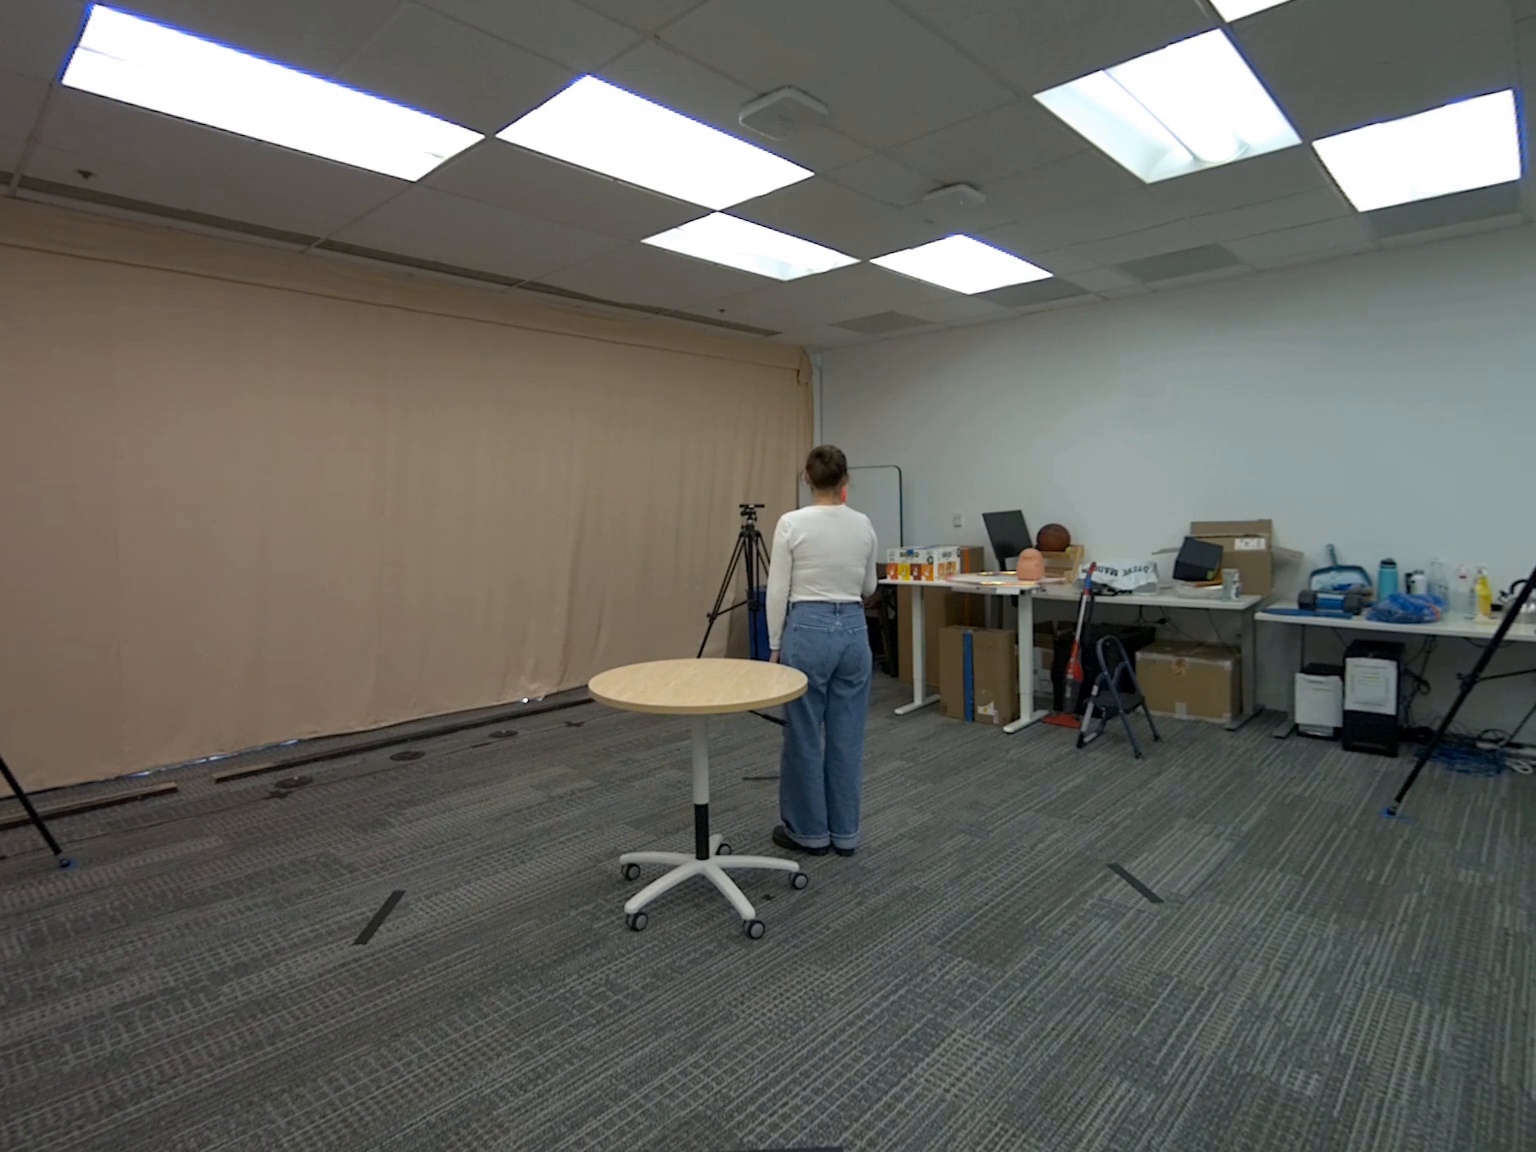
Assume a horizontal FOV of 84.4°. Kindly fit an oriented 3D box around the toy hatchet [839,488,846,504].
[{"bbox_3d":[0.326,-0.277,3.651,0.029,0.276,0.130,-1,-31,-18],"label":"toy hatchet"}]
